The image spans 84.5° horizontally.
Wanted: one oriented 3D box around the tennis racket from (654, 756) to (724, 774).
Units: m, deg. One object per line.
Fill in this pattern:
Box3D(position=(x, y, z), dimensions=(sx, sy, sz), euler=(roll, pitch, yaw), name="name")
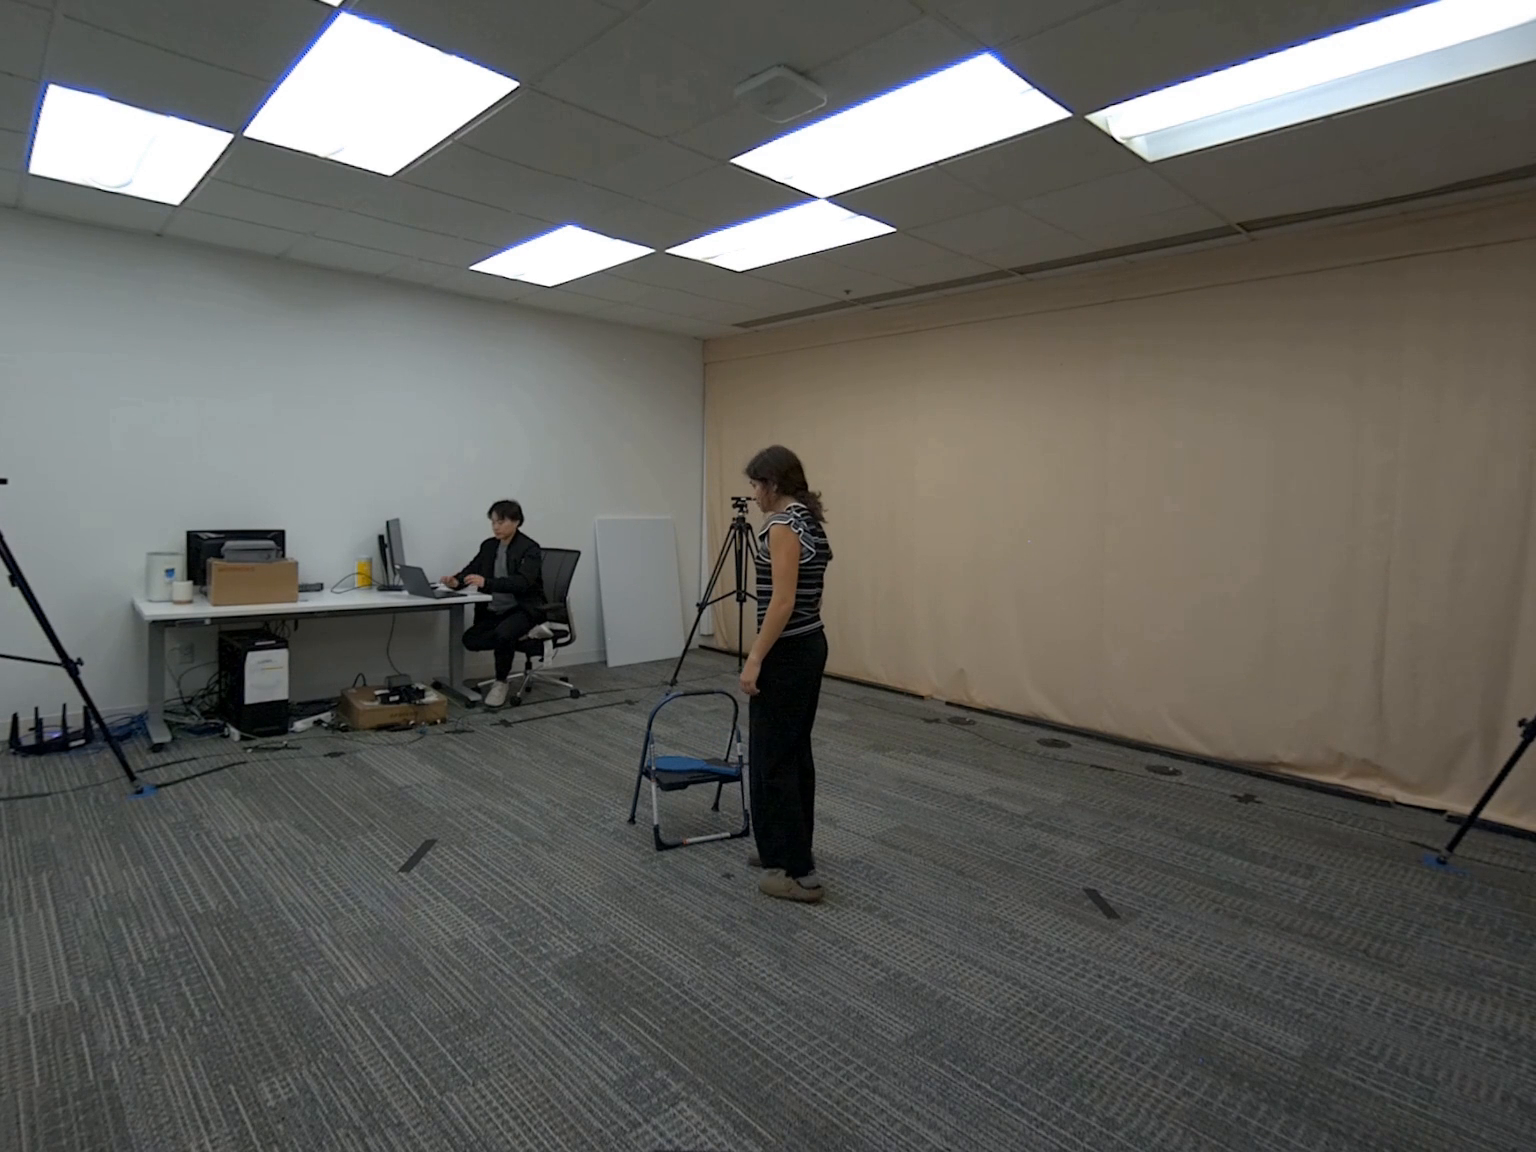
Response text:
Box3D(position=(-0.313, 0.795, 3.508), dimensions=(0.441, 0.032, 0.210), euler=(1, 2, 26), name="tennis racket")
